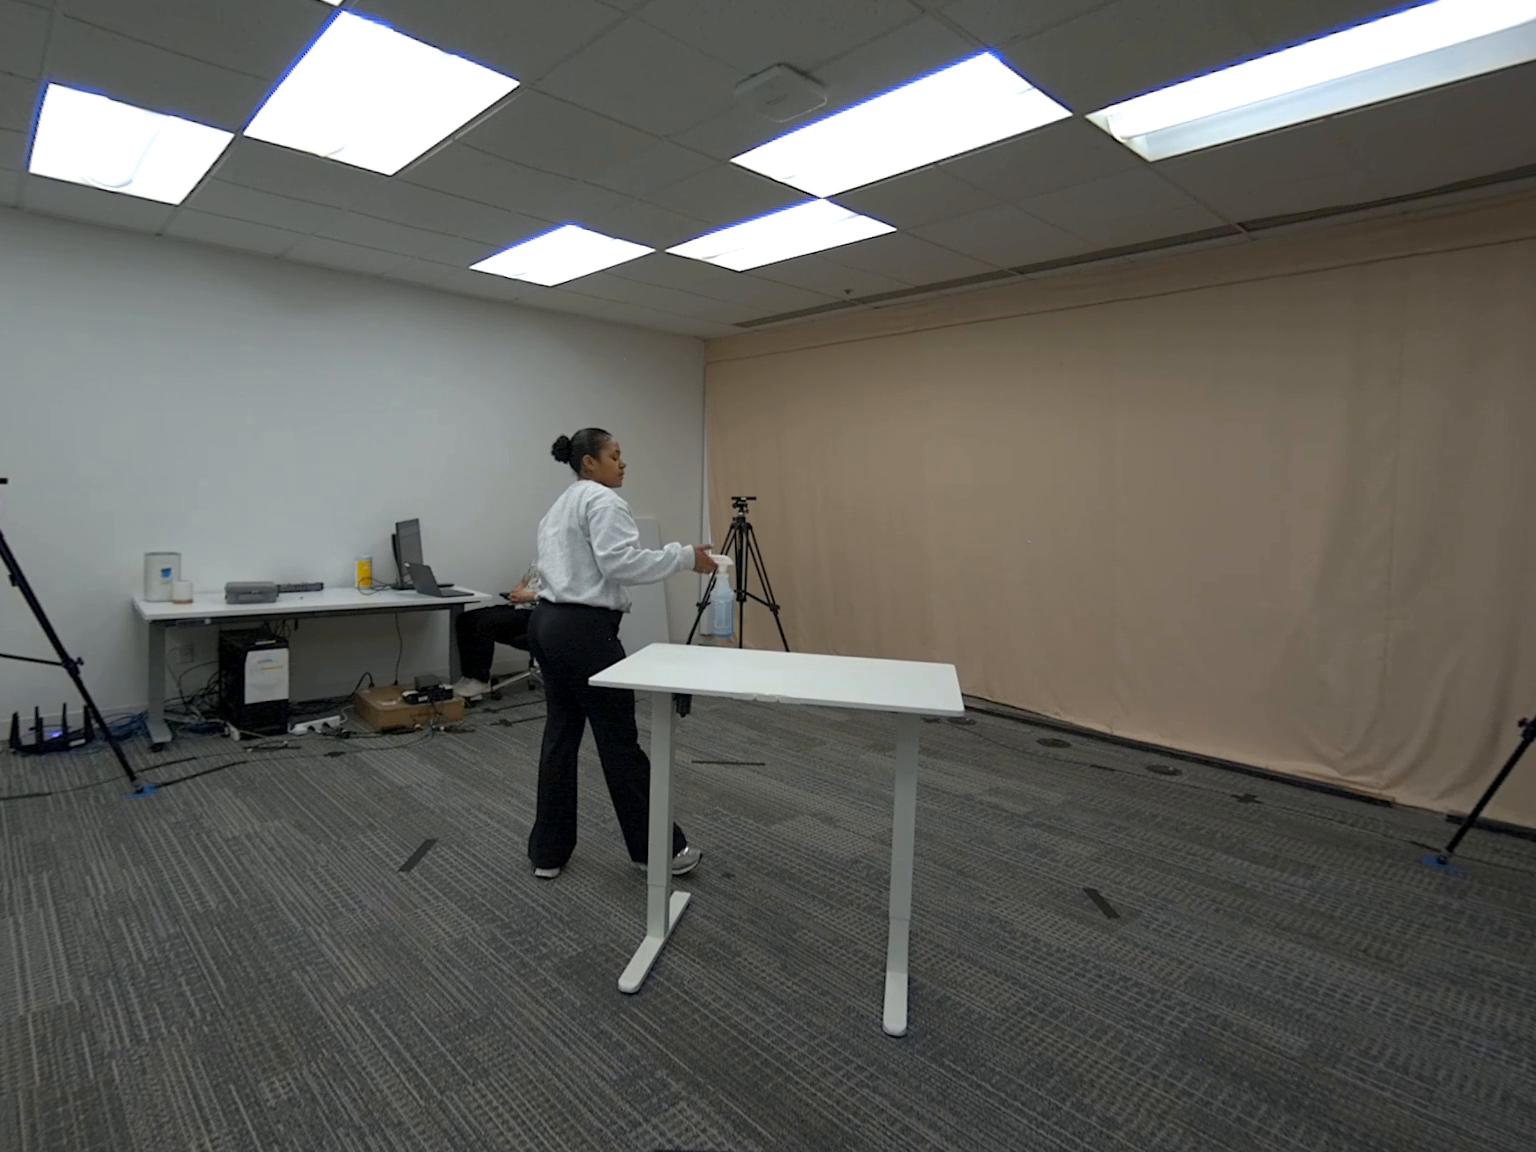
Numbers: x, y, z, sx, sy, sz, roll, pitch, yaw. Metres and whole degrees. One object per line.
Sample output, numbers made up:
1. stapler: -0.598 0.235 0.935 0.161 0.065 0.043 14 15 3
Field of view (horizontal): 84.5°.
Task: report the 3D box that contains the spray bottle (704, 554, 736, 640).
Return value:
1. spray bottle: -0.182 0.080 3.024 0.092 0.295 0.086 5 13 31
